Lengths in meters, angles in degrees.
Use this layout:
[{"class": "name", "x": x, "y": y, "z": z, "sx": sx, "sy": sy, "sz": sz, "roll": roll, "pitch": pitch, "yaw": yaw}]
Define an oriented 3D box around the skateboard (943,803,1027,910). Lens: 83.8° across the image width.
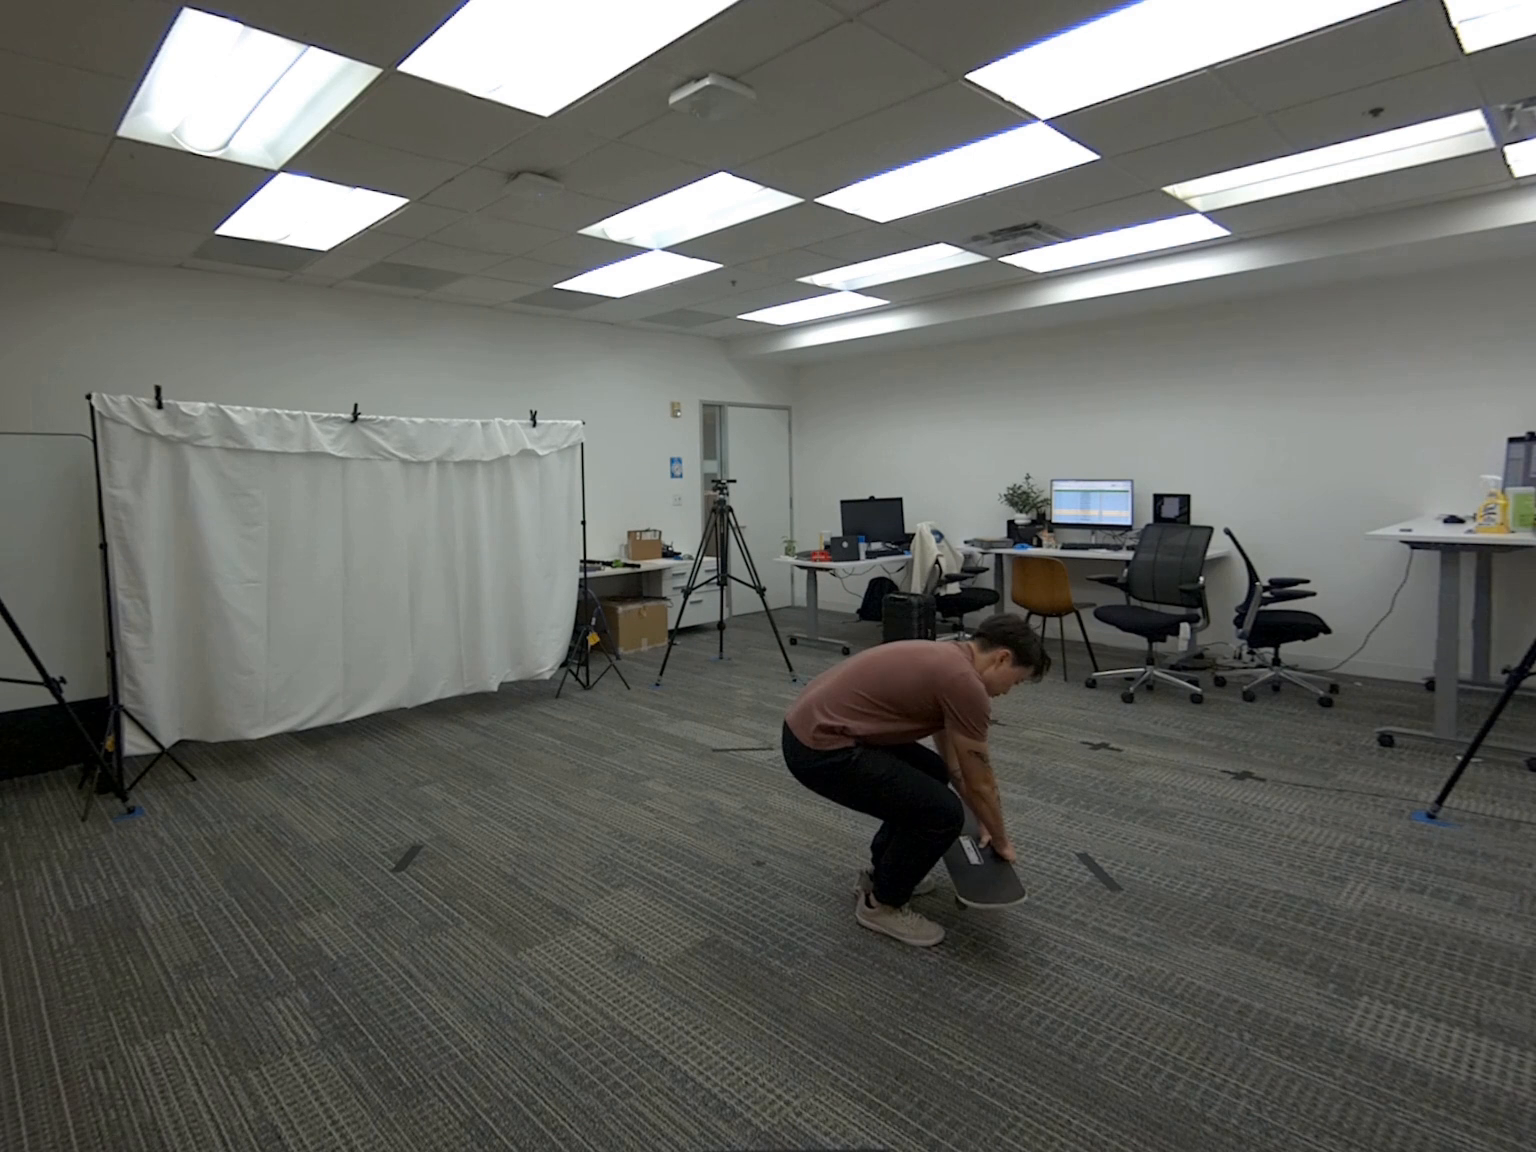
[{"class": "skateboard", "x": 0.665, "y": 0.909, "z": 2.742, "sx": 0.194, "sy": 0.110, "sz": 0.786, "roll": -8, "pitch": 6, "yaw": 2}]
